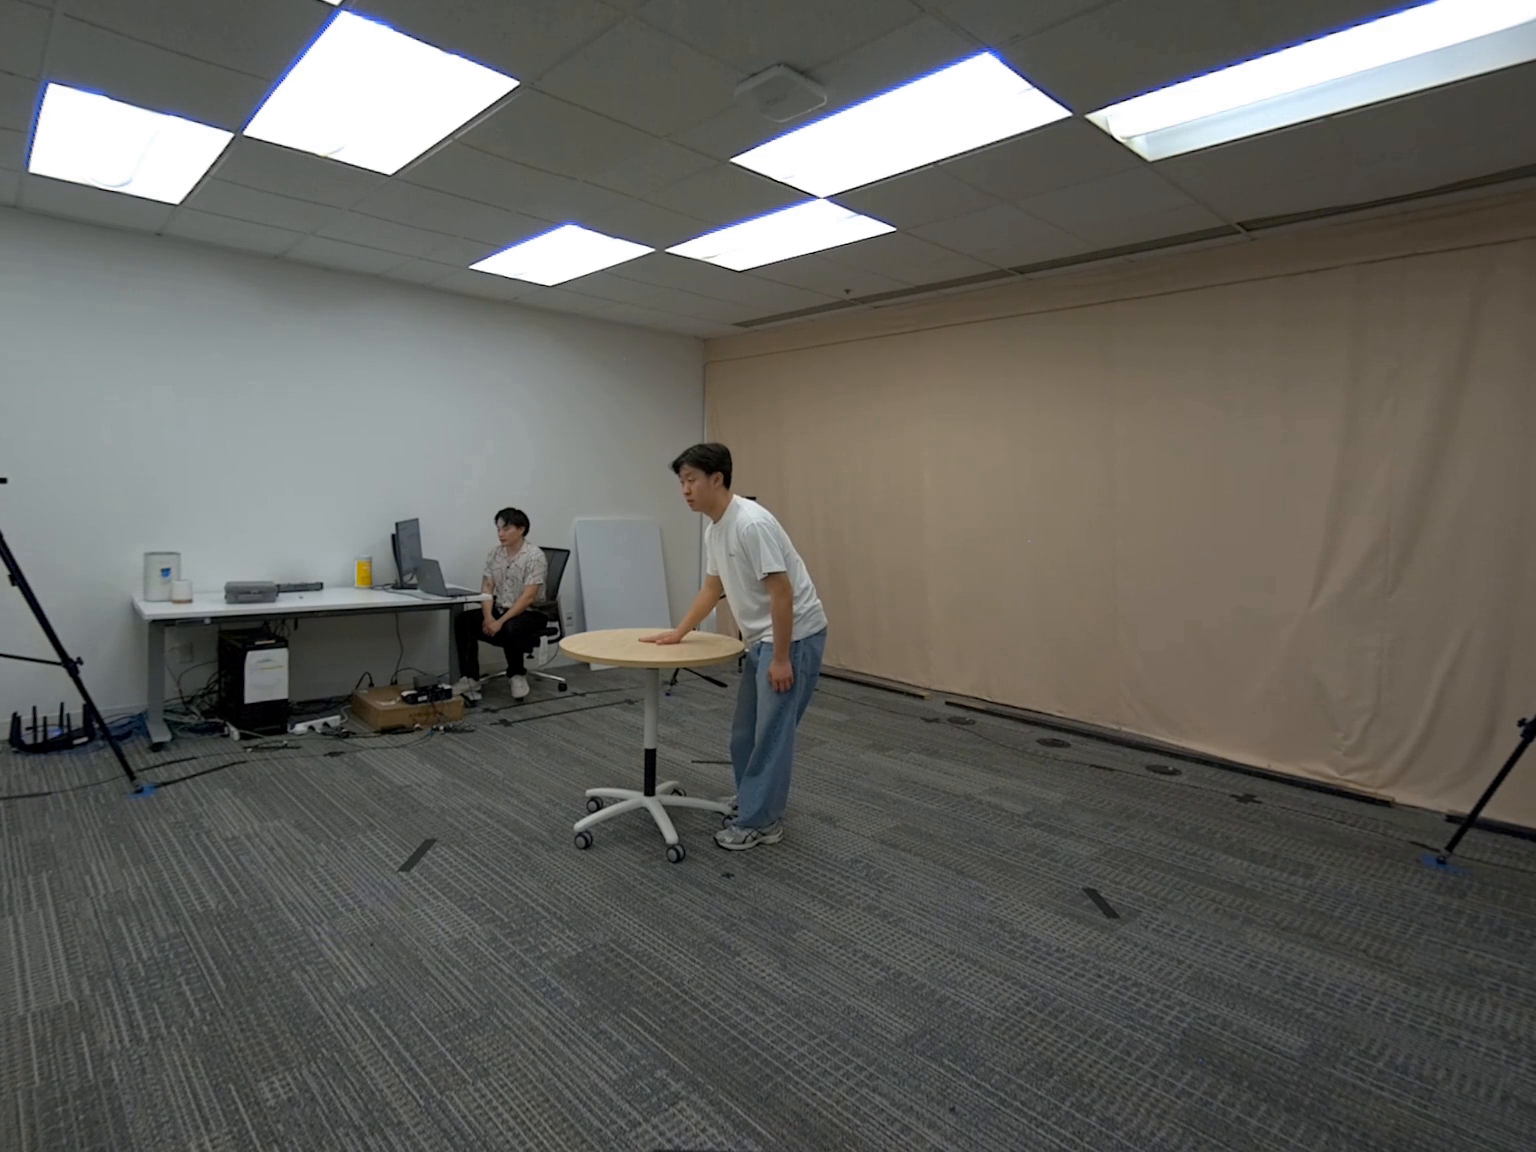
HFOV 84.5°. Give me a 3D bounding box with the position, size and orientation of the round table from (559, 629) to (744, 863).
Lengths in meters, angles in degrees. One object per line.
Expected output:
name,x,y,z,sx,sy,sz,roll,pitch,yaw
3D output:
round table,-0.496,0.670,3.508,0.763,0.792,0.766,1,4,-1
